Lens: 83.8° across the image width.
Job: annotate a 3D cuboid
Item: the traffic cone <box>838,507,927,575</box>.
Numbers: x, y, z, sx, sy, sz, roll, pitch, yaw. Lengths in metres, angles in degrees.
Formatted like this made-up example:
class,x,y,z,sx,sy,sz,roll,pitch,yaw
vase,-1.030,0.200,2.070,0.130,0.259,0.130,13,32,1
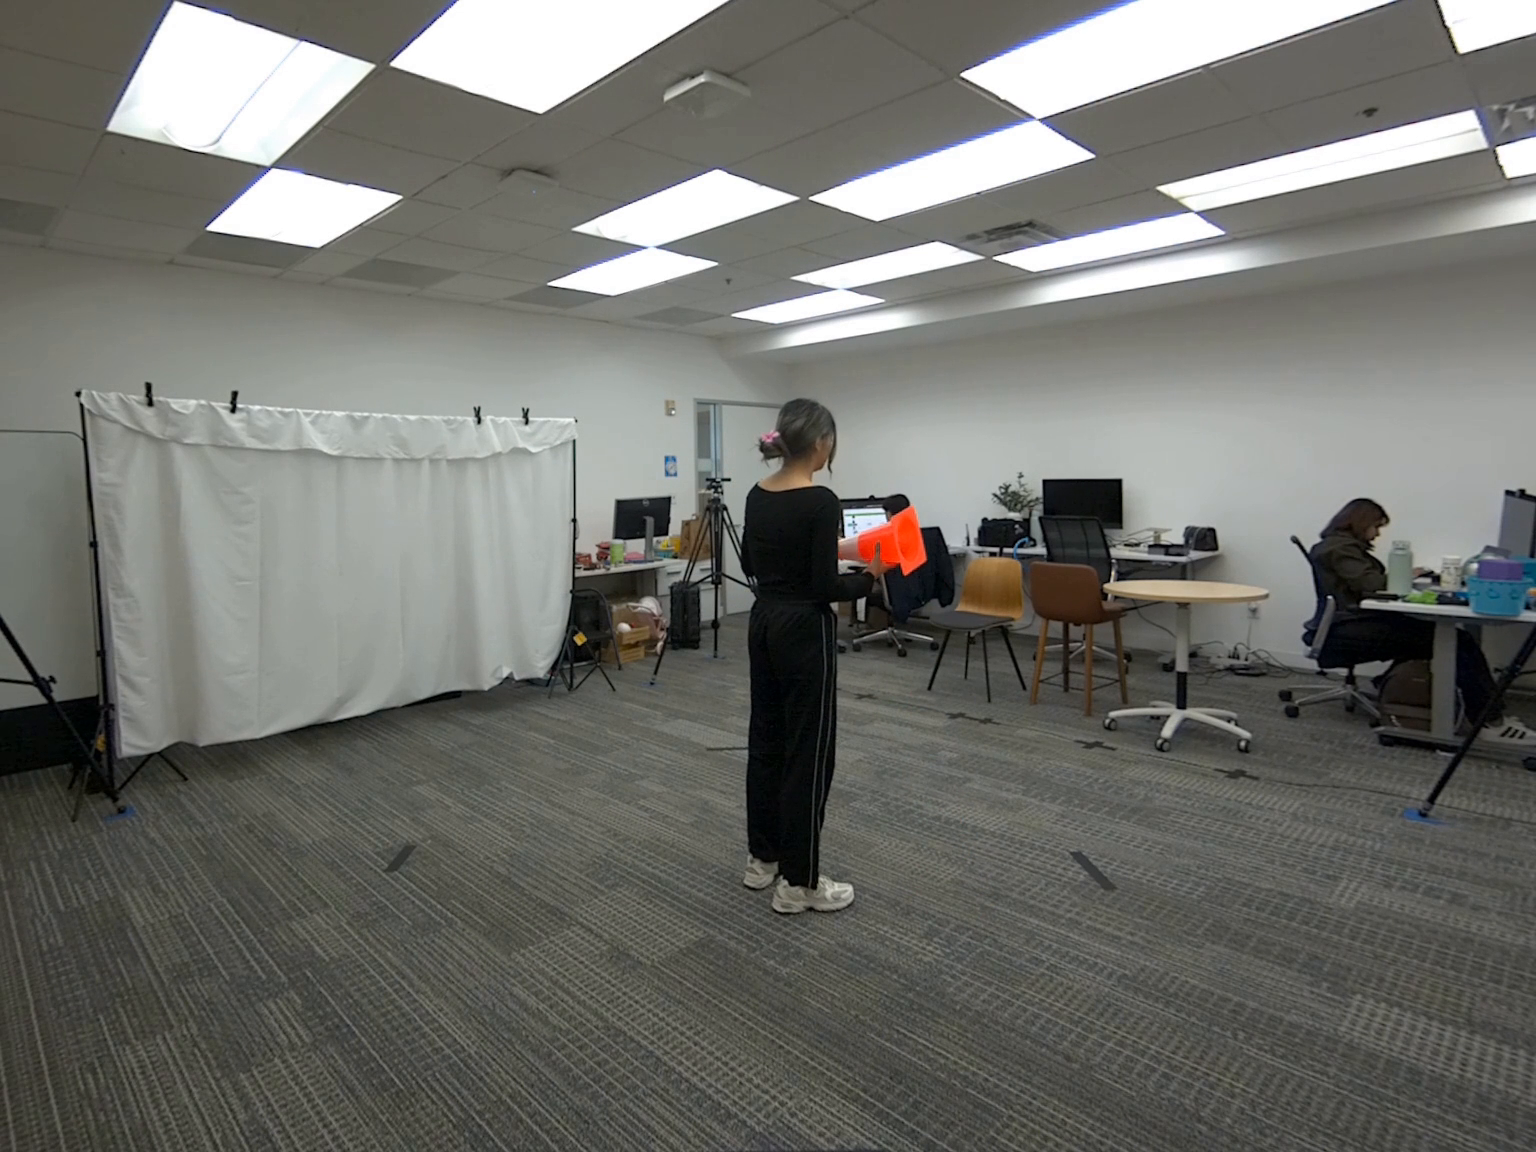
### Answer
class,x,y,z,sx,sy,sz,roll,pitch,yaw
traffic cone,0.316,-0.102,2.953,0.393,0.203,0.200,-5,12,36
